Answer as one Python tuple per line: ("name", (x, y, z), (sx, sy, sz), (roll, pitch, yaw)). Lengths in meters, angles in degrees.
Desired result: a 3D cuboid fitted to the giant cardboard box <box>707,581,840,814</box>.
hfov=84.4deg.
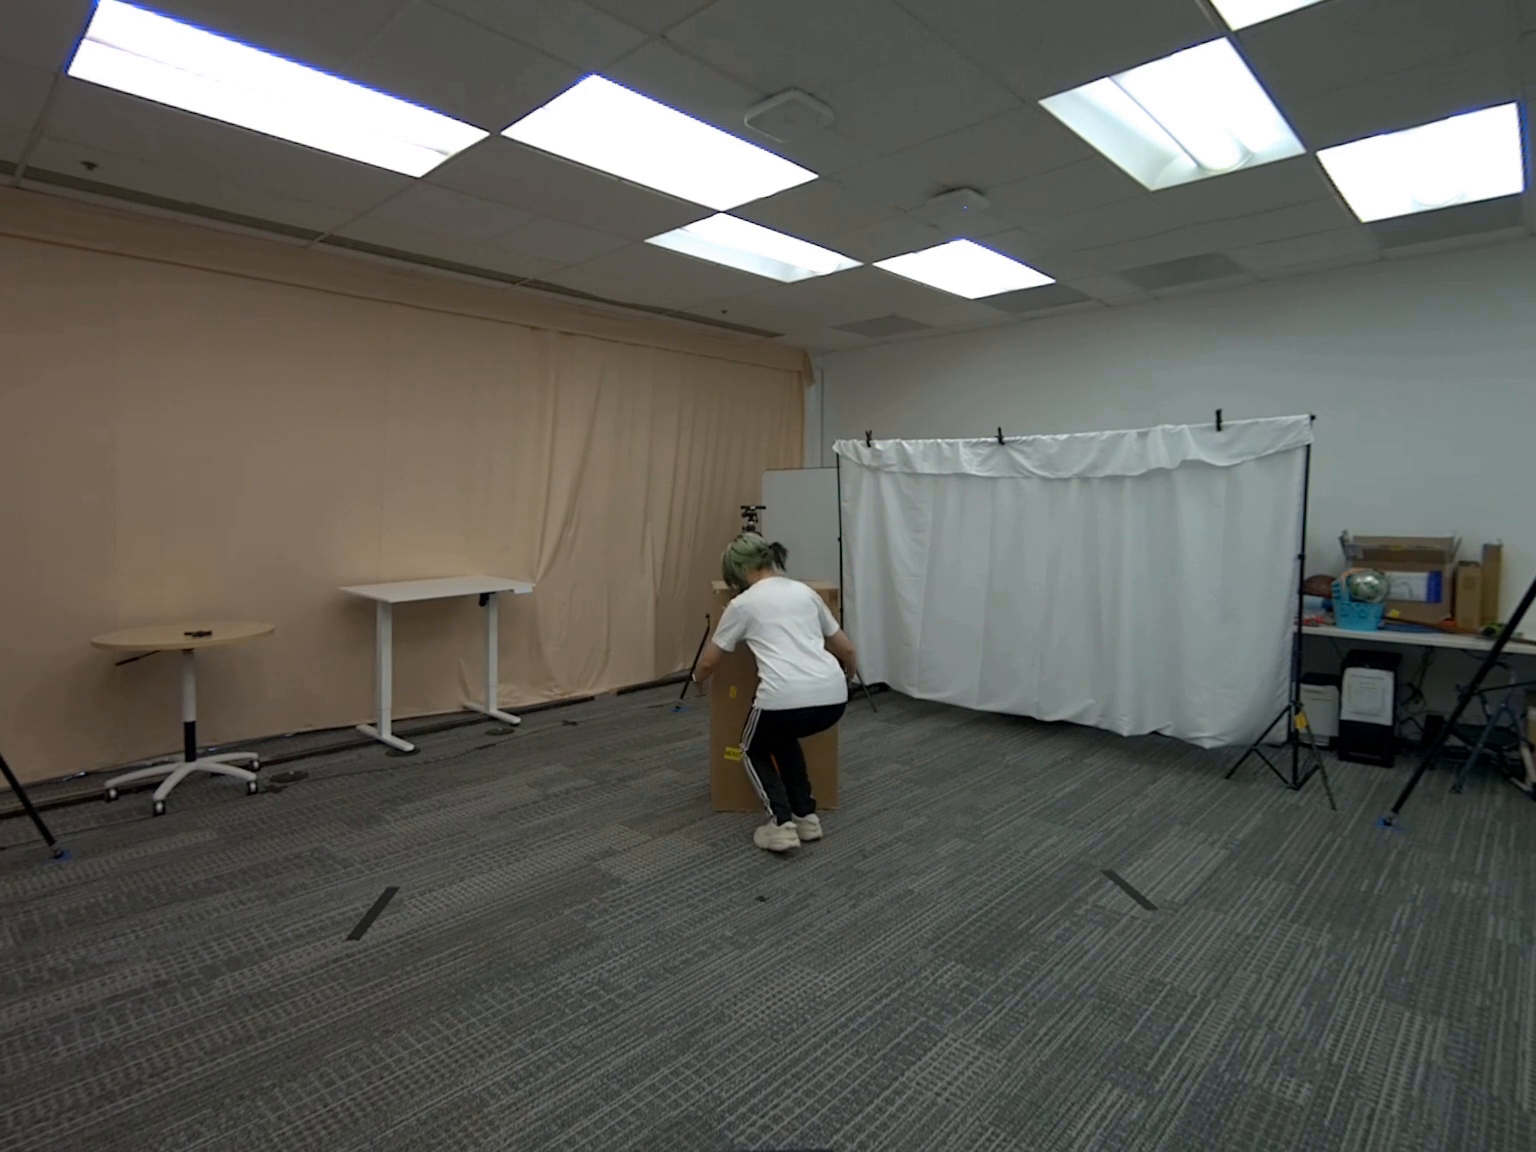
("giant cardboard box", (0.016, 0.550, 4.042), (0.582, 1.026, 0.449), (0, 2, -4))
